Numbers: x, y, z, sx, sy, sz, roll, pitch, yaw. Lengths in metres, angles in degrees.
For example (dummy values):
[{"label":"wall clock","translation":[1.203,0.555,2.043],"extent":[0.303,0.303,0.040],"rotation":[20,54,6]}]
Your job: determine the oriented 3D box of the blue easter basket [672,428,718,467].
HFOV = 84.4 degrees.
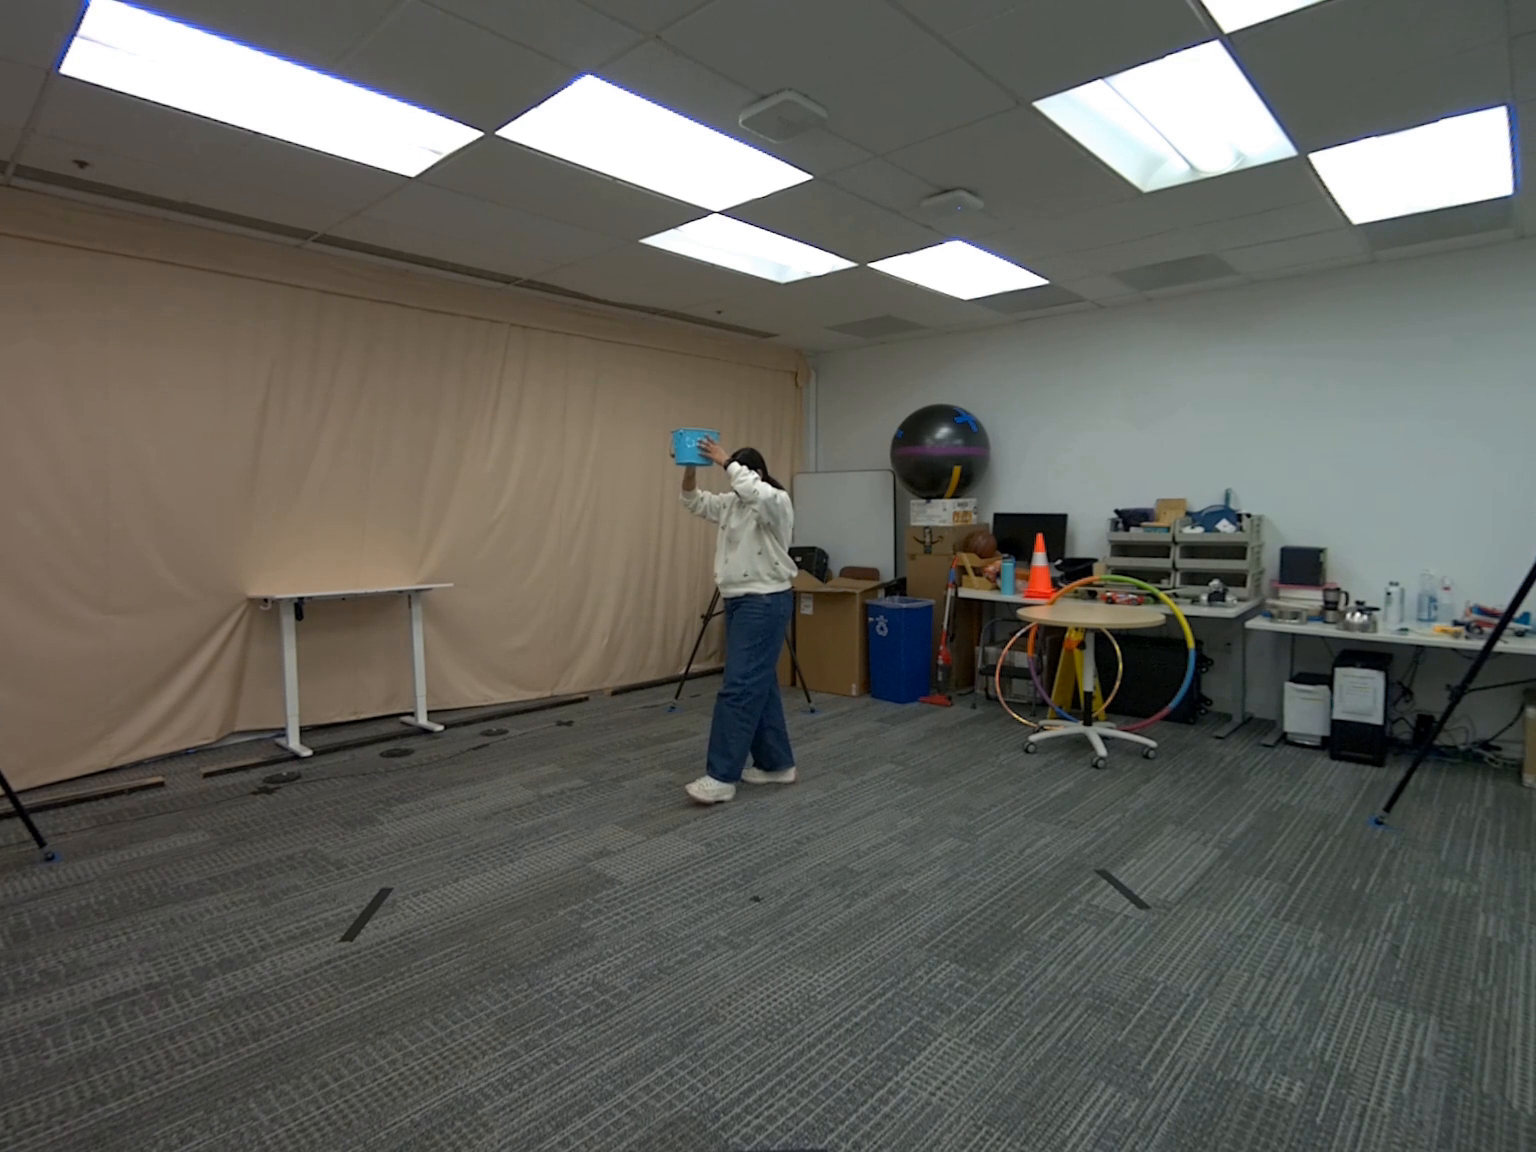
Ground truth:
[{"label":"blue easter basket","translation":[-0.354,-0.609,4.010],"extent":[0.243,0.156,0.244],"rotation":[2,1,-2]}]
